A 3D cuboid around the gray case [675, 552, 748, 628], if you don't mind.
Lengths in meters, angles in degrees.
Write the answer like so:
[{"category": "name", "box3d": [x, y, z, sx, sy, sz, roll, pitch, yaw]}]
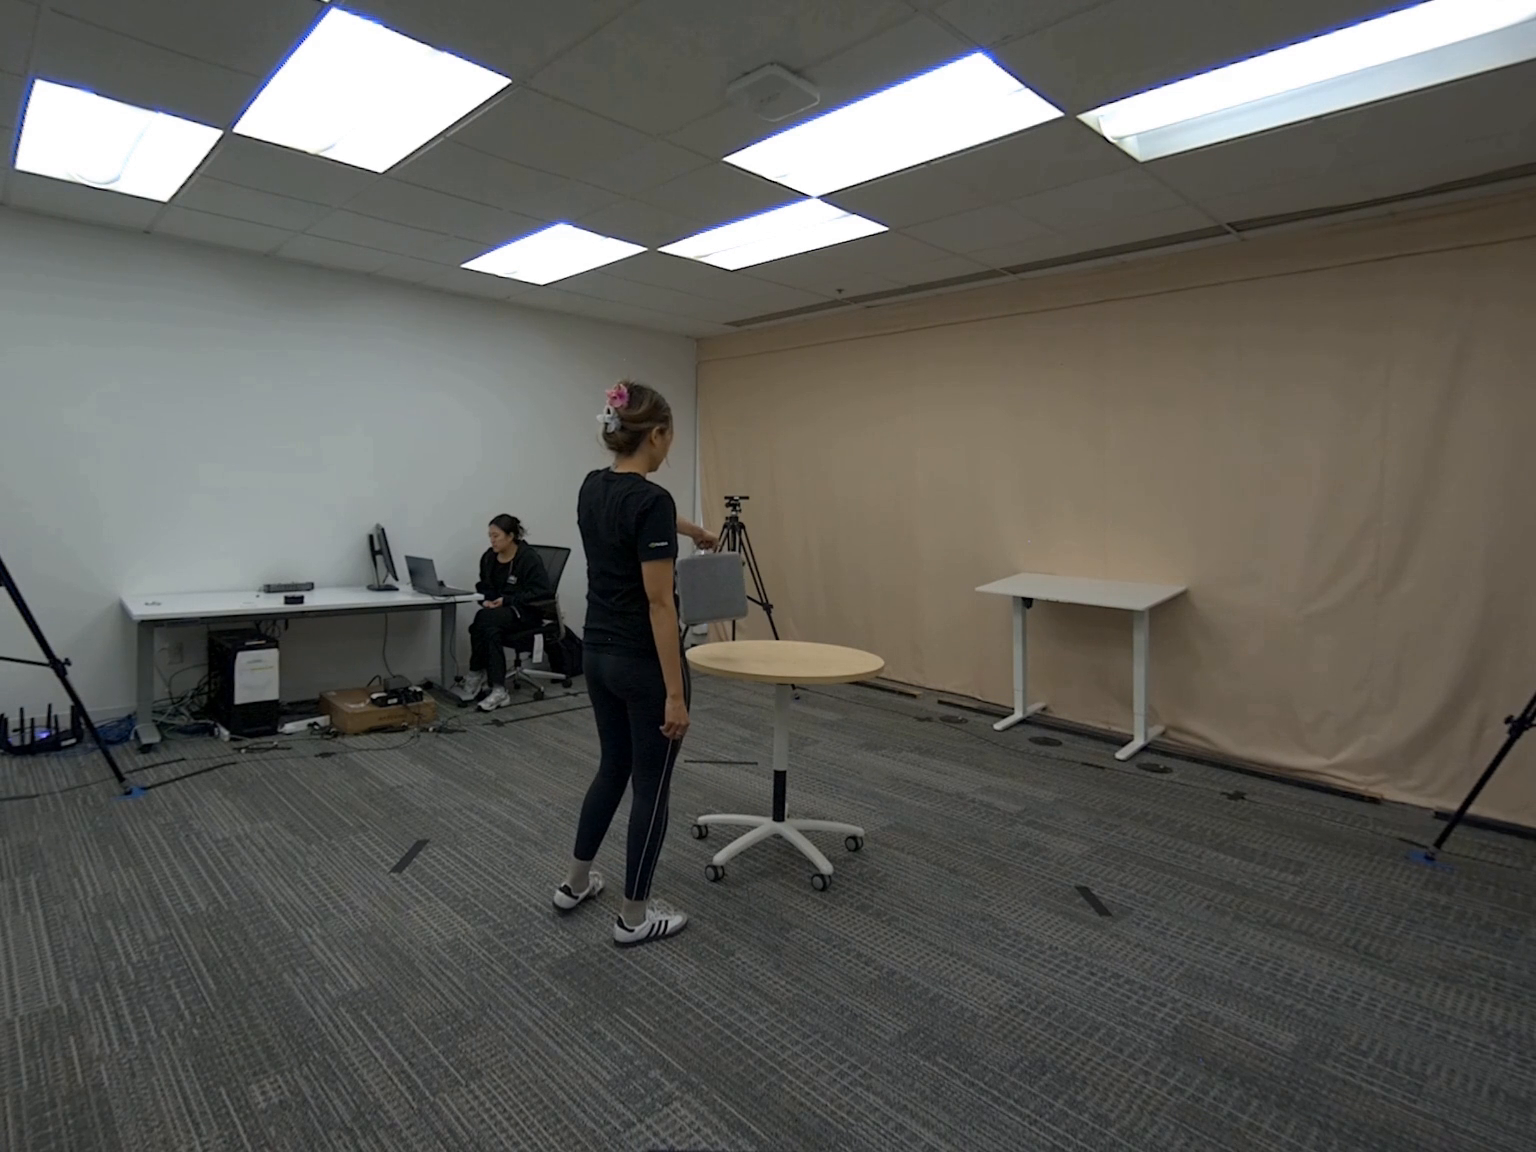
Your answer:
[{"category": "gray case", "box3d": [-0.216, 0.041, 3.153, 0.256, 0.261, 0.104, -6, -2, -5]}]
